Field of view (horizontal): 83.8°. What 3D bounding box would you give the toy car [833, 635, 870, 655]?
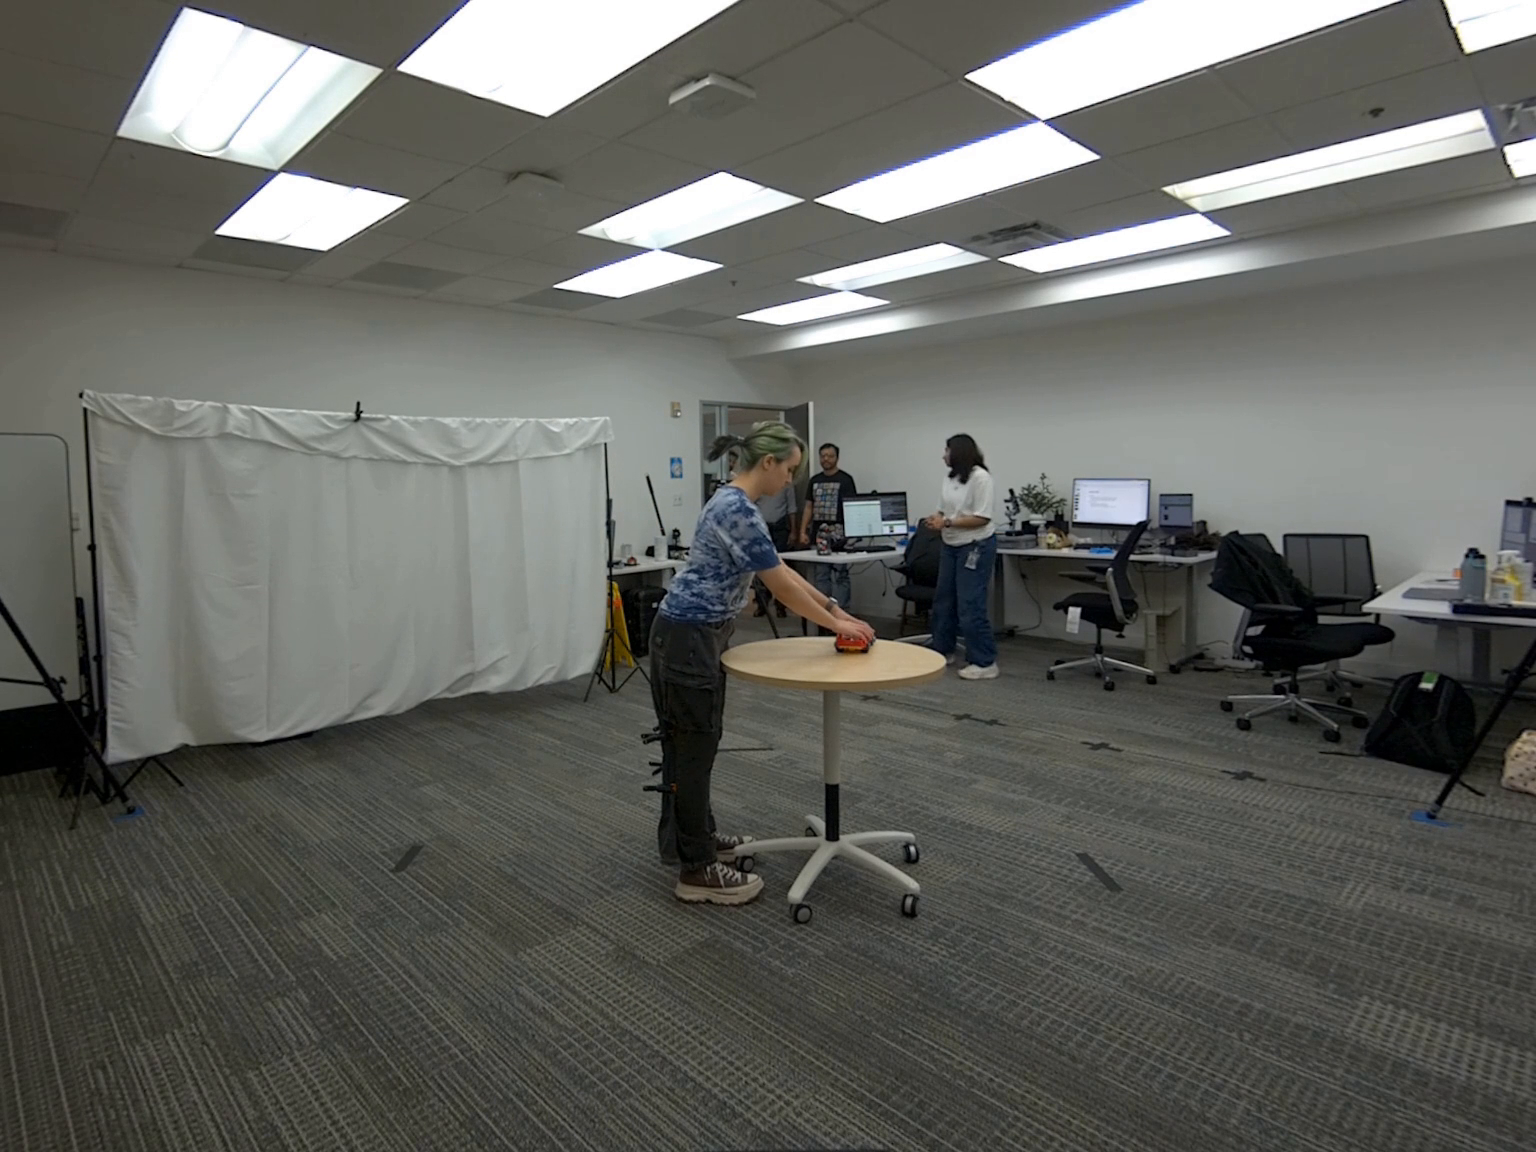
[{"bbox_3d":[0.308,0.233,3.066,0.132,0.083,0.250,3,-2,15],"label":"toy car"}]
